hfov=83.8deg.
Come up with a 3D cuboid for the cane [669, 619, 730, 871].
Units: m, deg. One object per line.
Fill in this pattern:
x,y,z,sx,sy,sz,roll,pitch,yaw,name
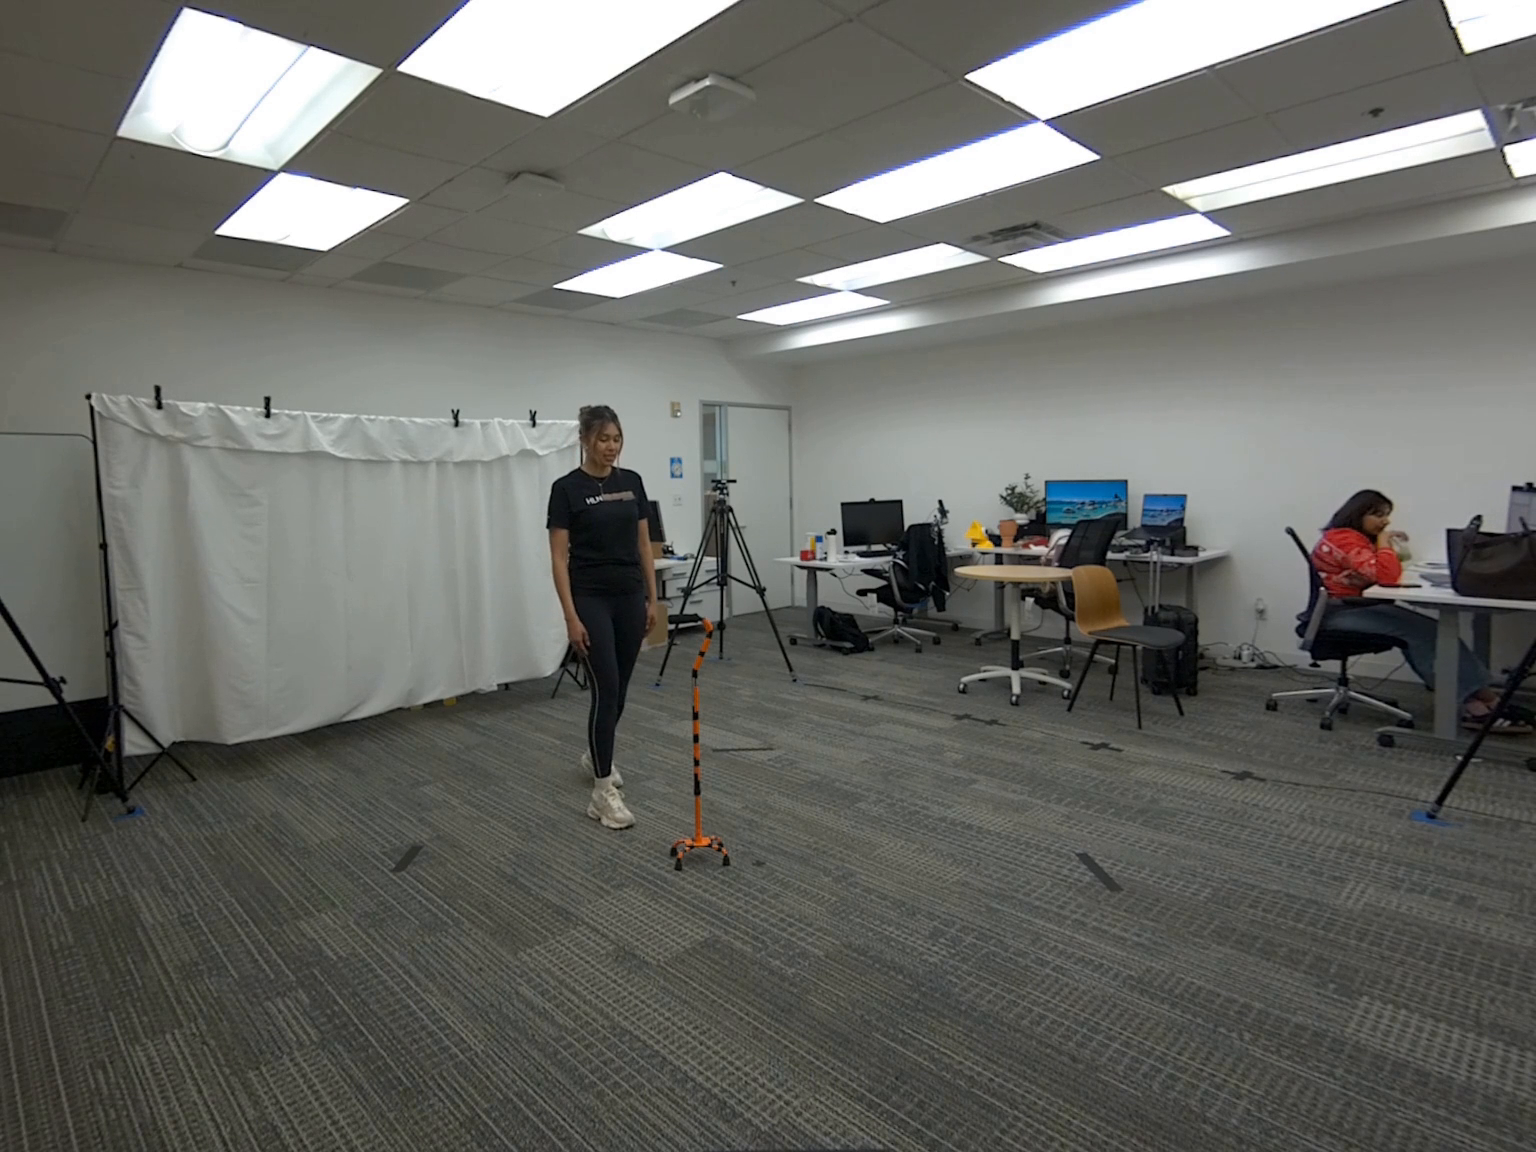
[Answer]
-0.258,0.595,3.124,0.204,0.905,0.154,-2,3,-13,cane
